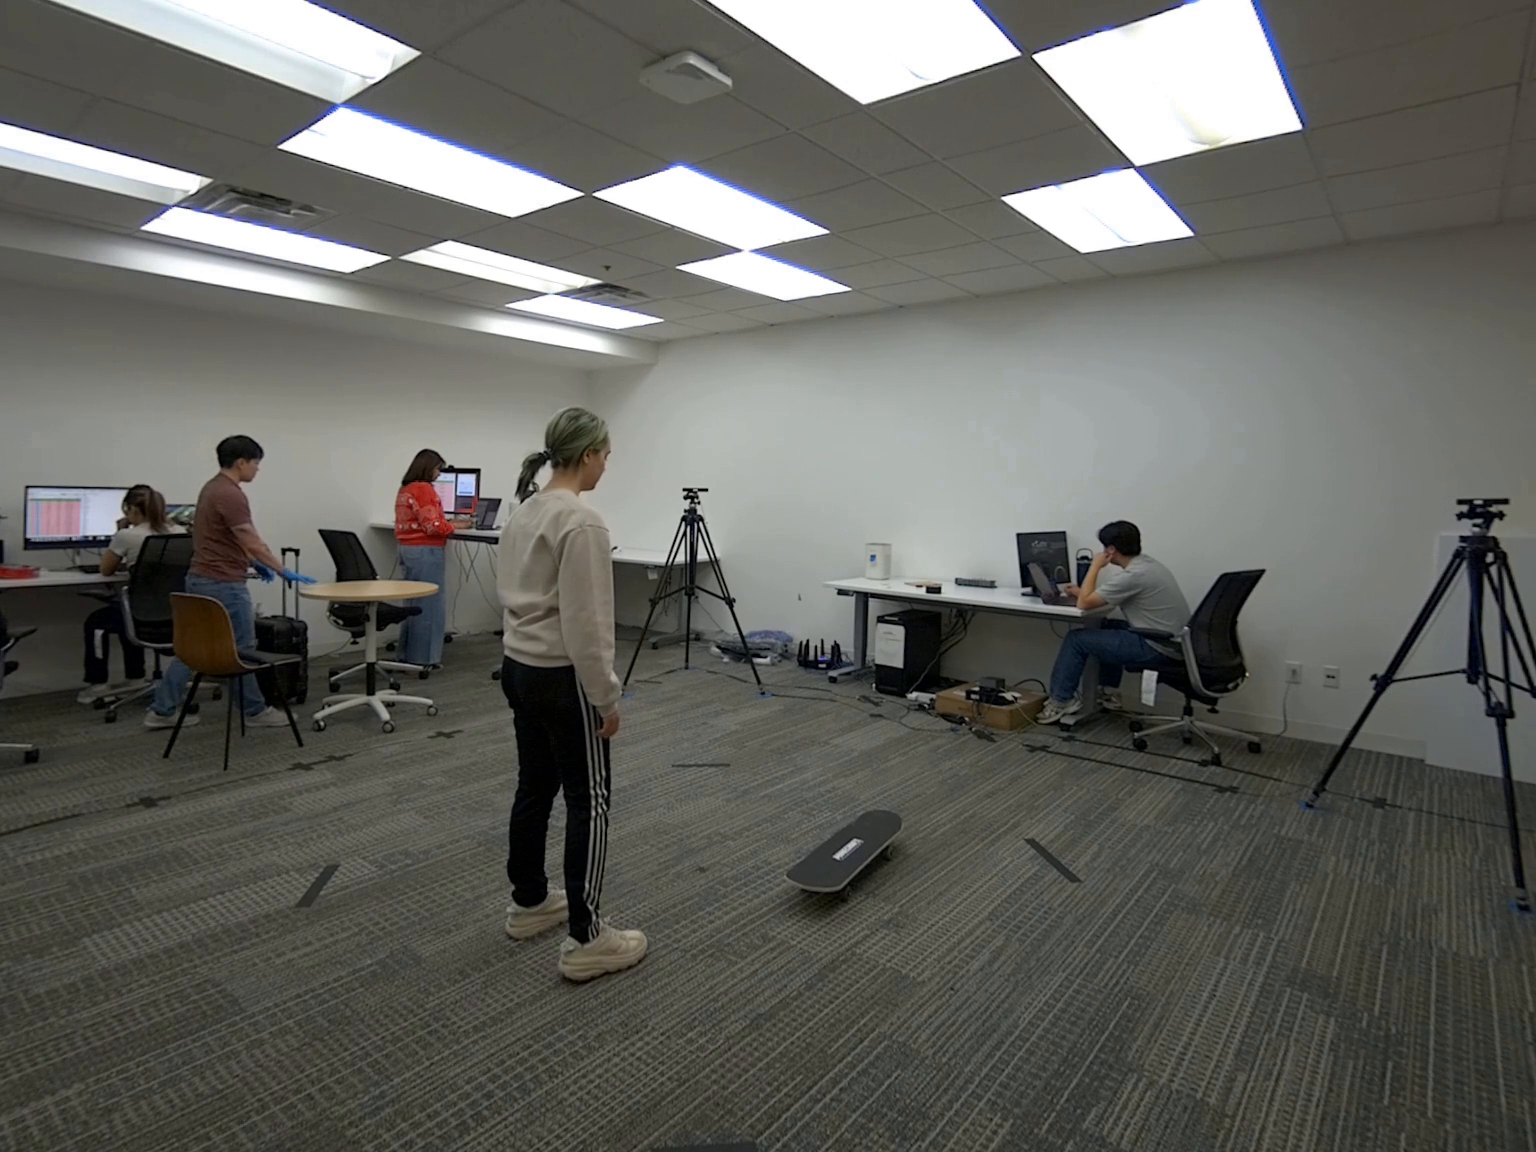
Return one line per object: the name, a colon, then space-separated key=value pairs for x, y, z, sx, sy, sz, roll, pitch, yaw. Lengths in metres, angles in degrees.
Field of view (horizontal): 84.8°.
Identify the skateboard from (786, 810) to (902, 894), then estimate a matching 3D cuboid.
skateboard: x=0.293 y=1.028 z=3.102 sx=0.199 sy=0.110 sz=0.766 roll=4 pitch=7 yaw=29
